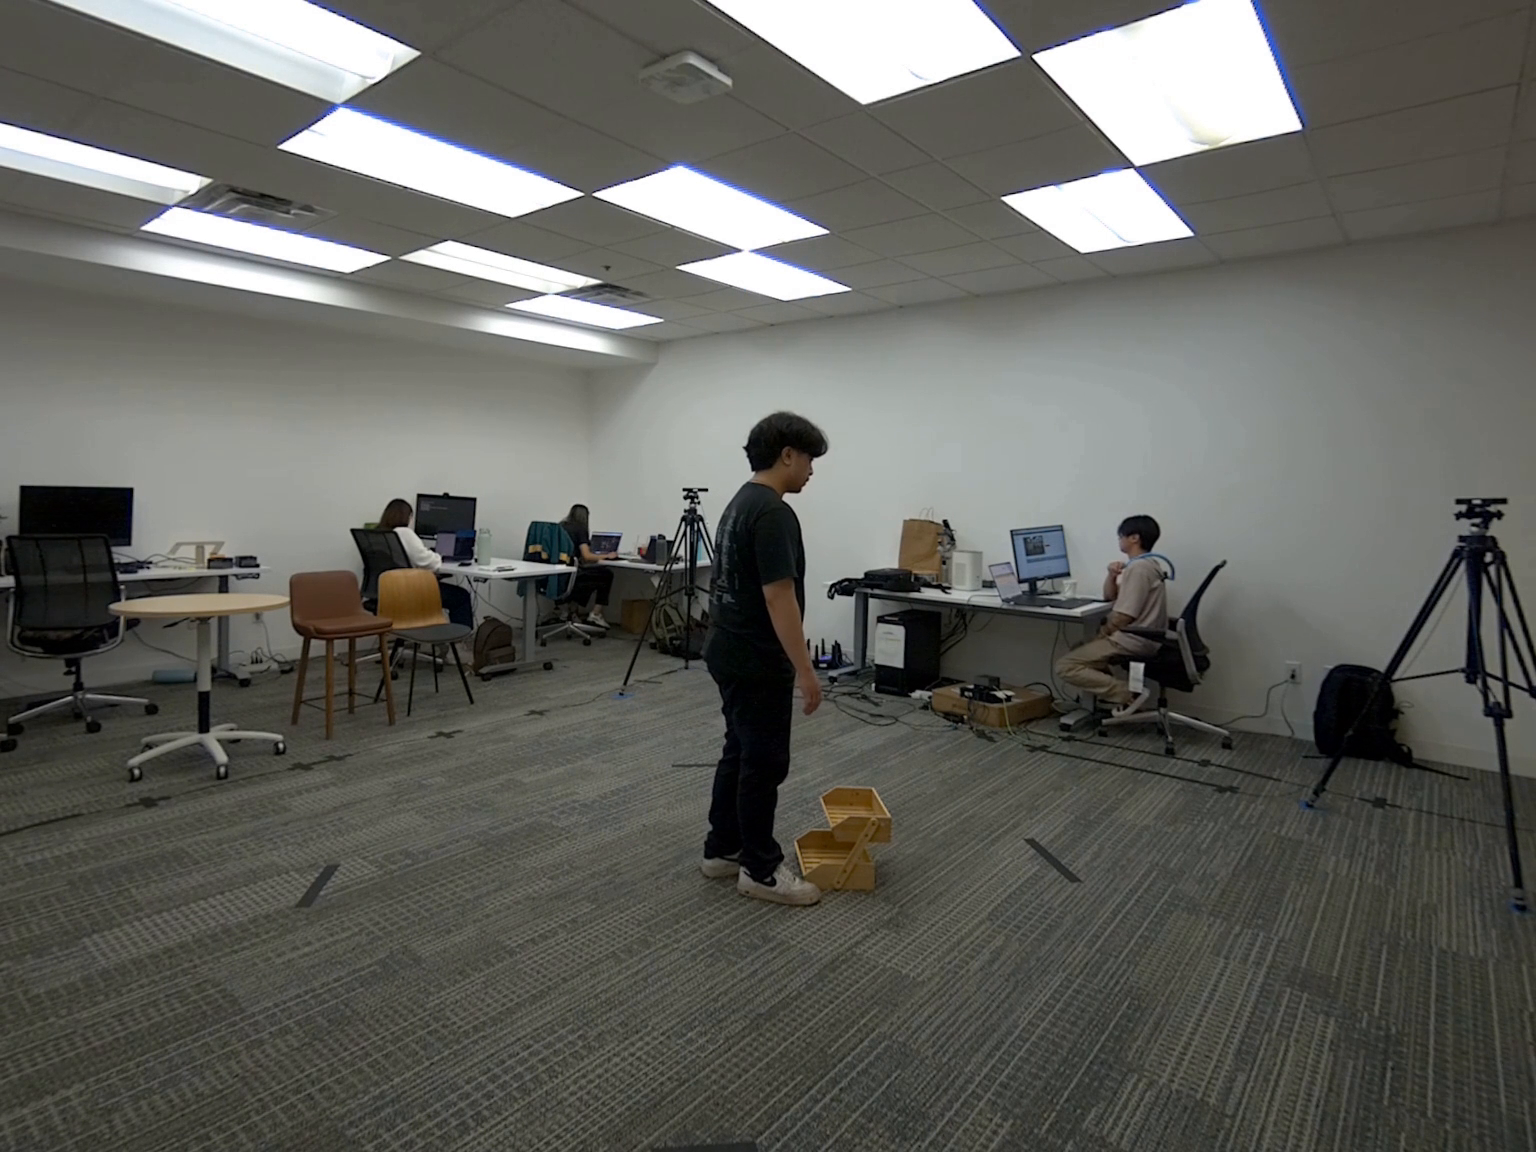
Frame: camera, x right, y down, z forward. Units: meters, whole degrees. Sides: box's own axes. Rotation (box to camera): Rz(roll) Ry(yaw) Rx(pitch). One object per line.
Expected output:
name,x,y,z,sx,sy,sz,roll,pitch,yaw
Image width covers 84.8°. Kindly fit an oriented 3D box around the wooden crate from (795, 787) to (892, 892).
wooden crate,0.247,0.948,3.114,0.301,0.272,0.327,1,5,-4
